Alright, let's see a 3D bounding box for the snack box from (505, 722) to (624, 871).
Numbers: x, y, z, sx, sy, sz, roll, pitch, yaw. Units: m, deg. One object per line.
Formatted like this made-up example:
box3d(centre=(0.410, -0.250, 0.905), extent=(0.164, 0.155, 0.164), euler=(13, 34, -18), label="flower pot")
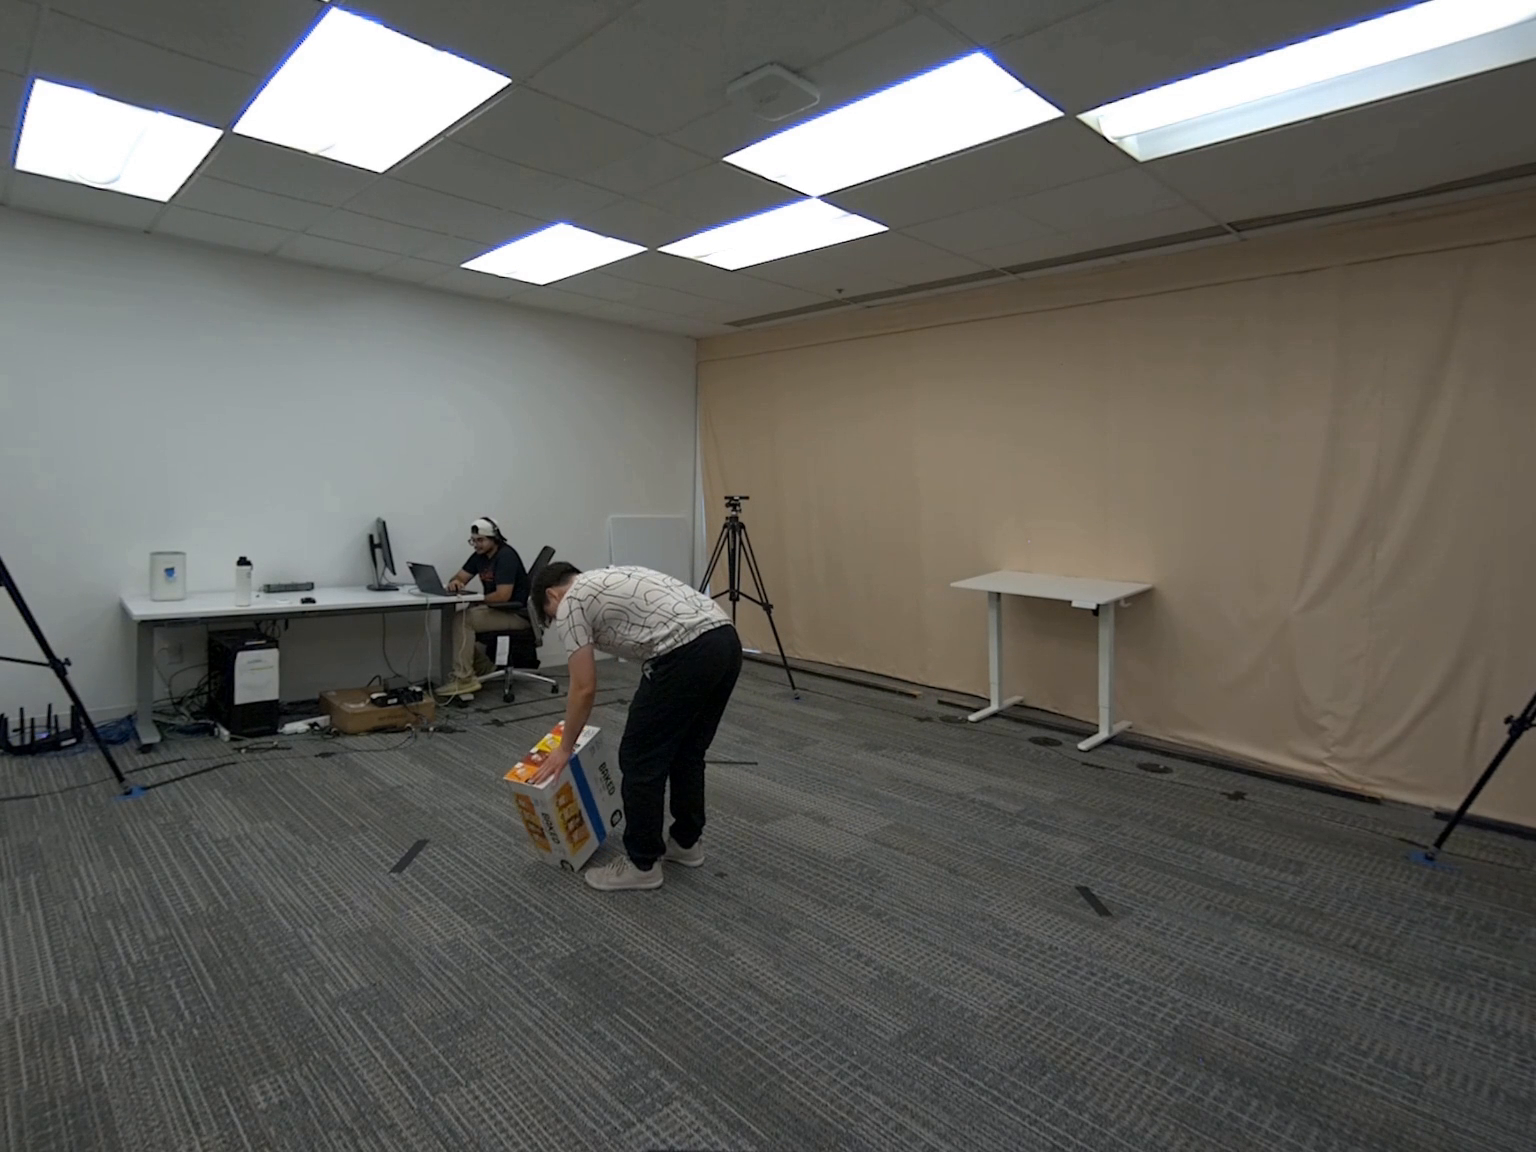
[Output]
box3d(centre=(-0.758, 0.828, 3.193), extent=(0.210, 0.397, 0.339), euler=(3, 29, 31), label="snack box")
